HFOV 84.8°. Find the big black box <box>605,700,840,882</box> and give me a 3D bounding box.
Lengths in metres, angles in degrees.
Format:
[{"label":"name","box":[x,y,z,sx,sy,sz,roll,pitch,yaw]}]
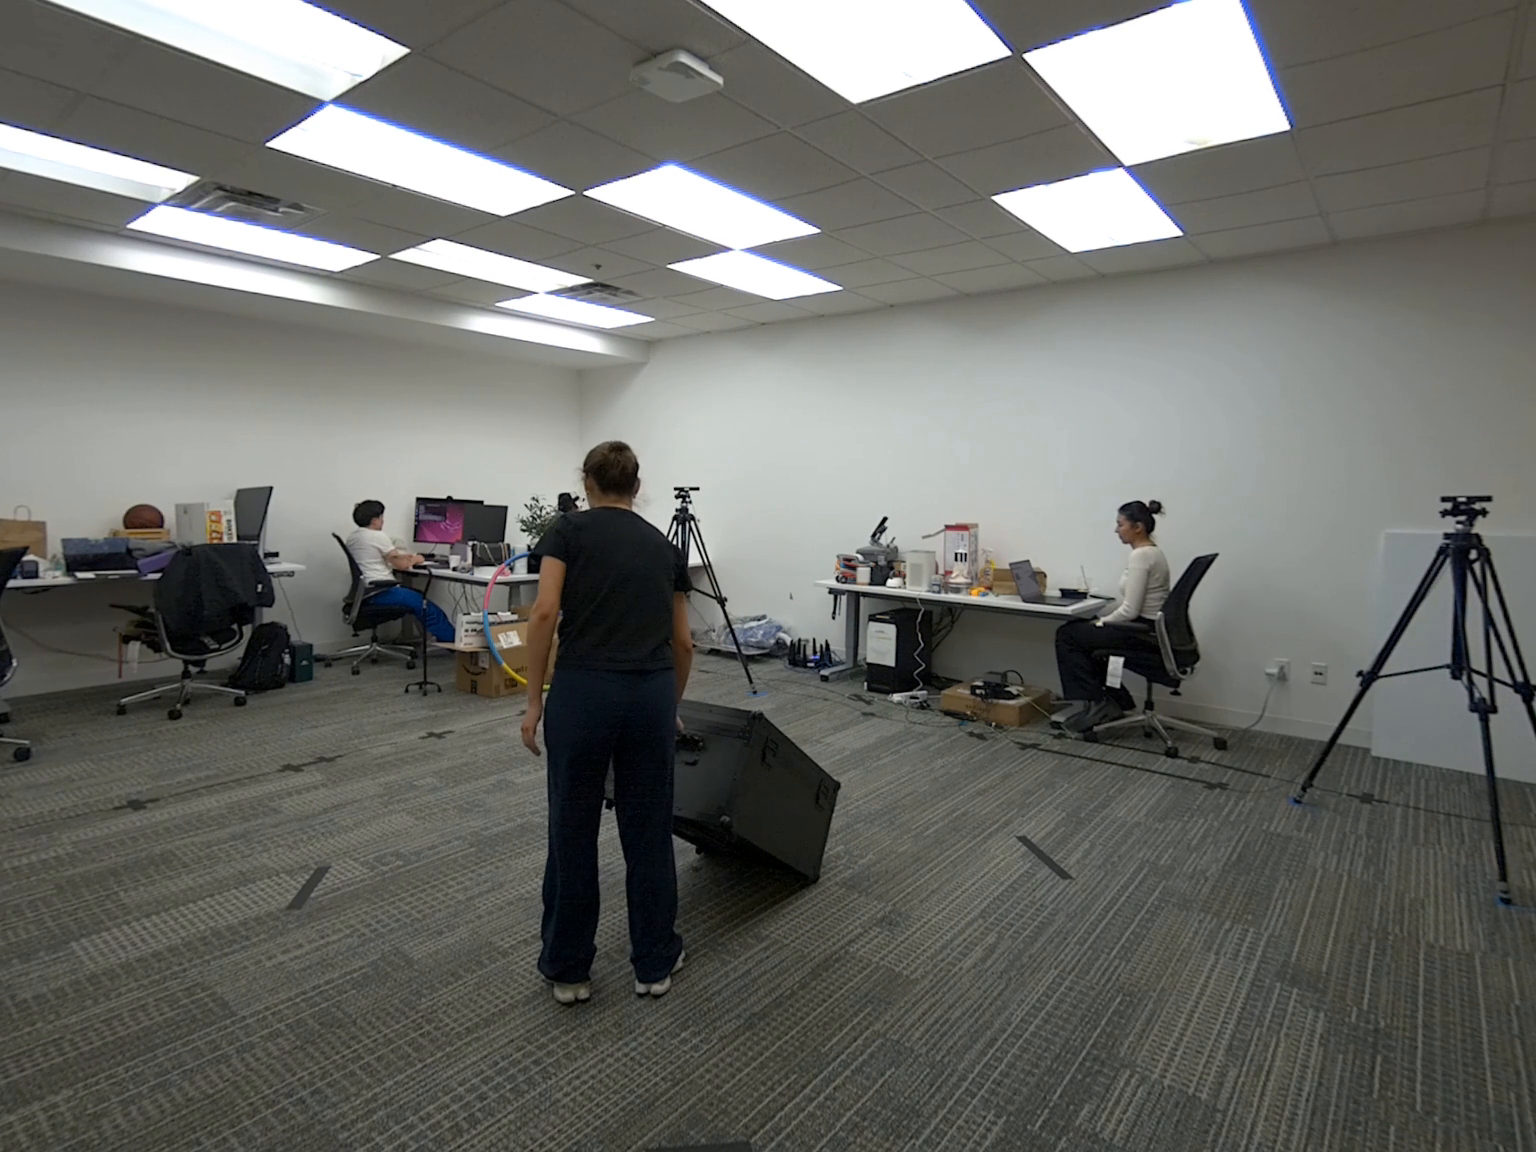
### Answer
[{"label":"big black box","box":[-0.106,0.751,2.953,0.537,0.401,0.826,4,-27,30]}]
